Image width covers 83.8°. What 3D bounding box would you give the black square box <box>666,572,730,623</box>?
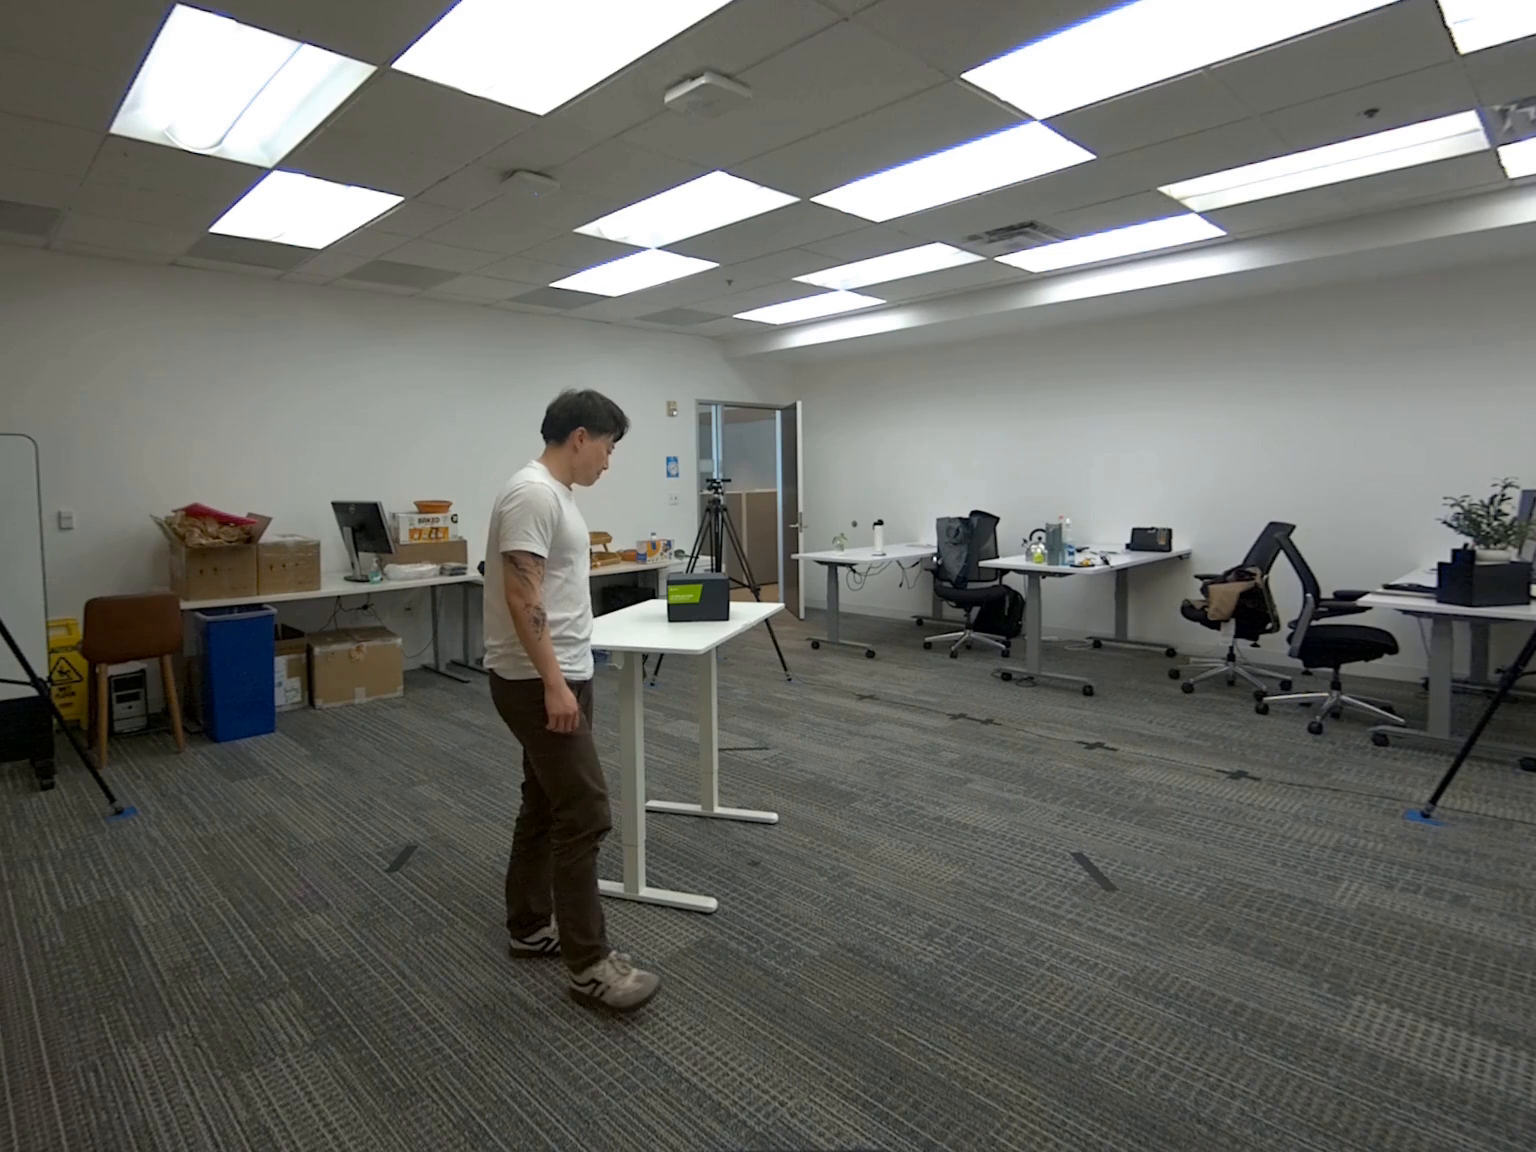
[{"bbox_3d":[-0.260,0.076,3.206,0.228,0.155,0.218,0,6,-1],"label":"black square box"}]
